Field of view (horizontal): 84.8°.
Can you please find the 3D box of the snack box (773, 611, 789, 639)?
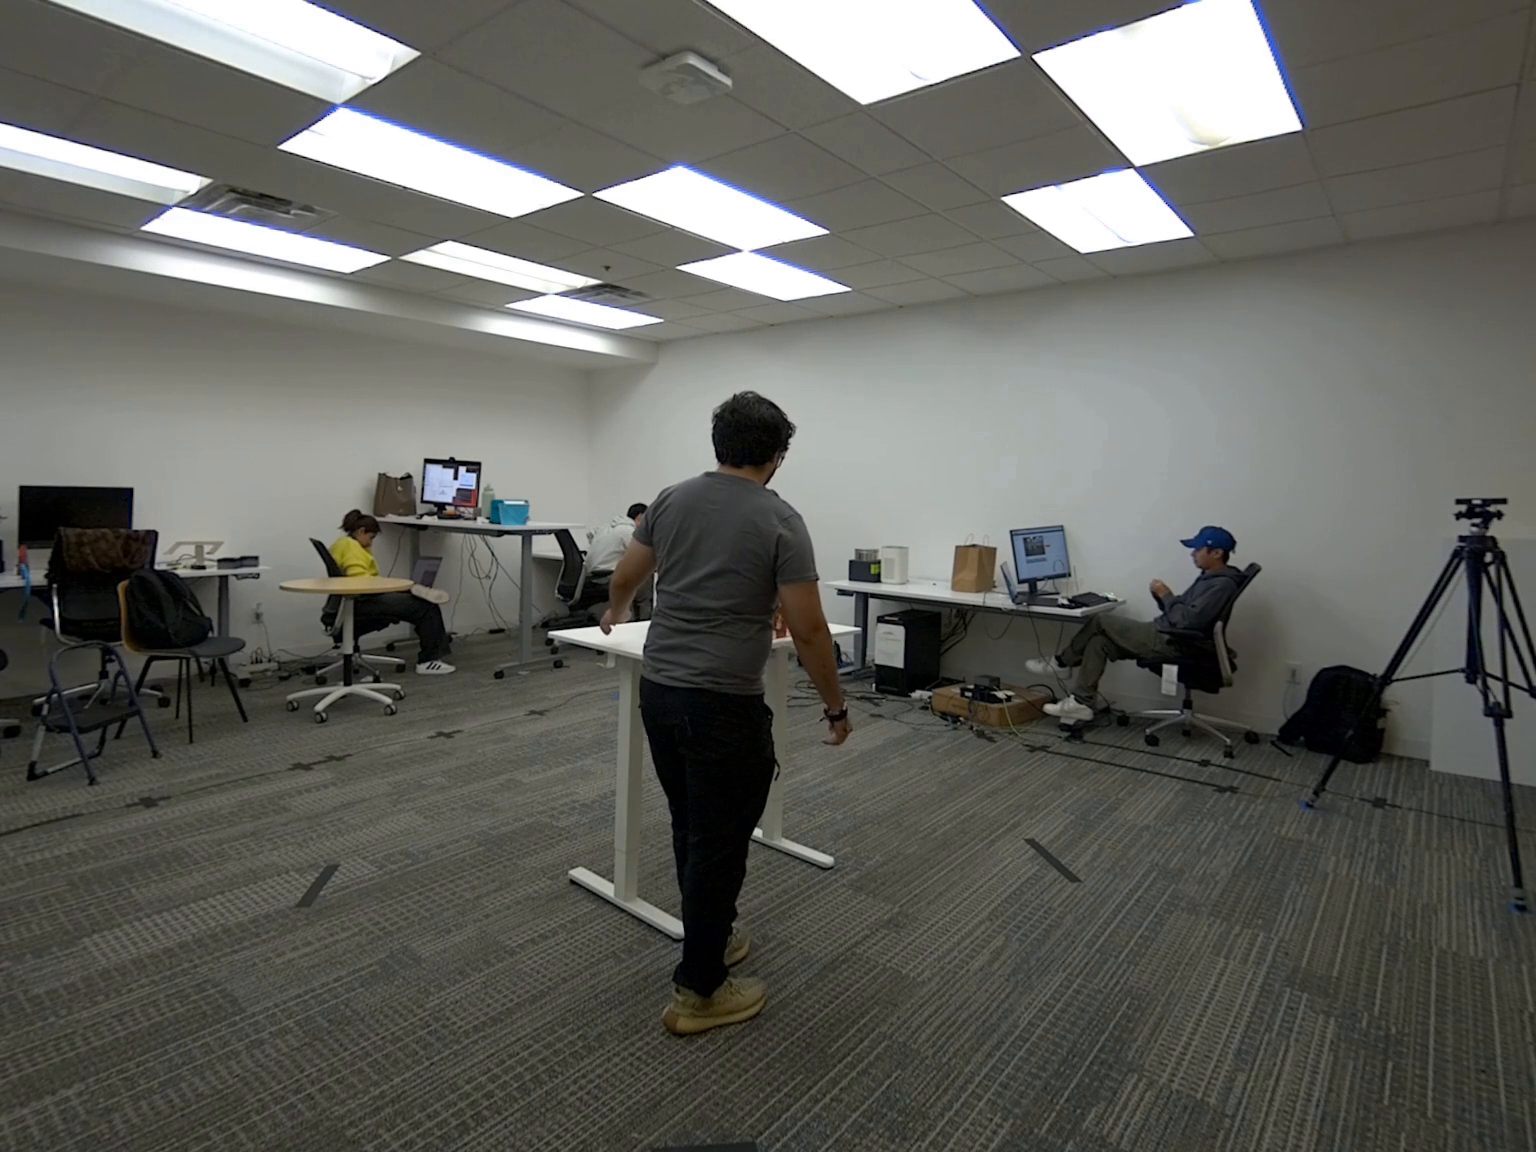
[{"bbox_3d":[-0.151,0.094,3.011,0.419,0.205,0.330,6,6,40],"label":"snack box"}]
